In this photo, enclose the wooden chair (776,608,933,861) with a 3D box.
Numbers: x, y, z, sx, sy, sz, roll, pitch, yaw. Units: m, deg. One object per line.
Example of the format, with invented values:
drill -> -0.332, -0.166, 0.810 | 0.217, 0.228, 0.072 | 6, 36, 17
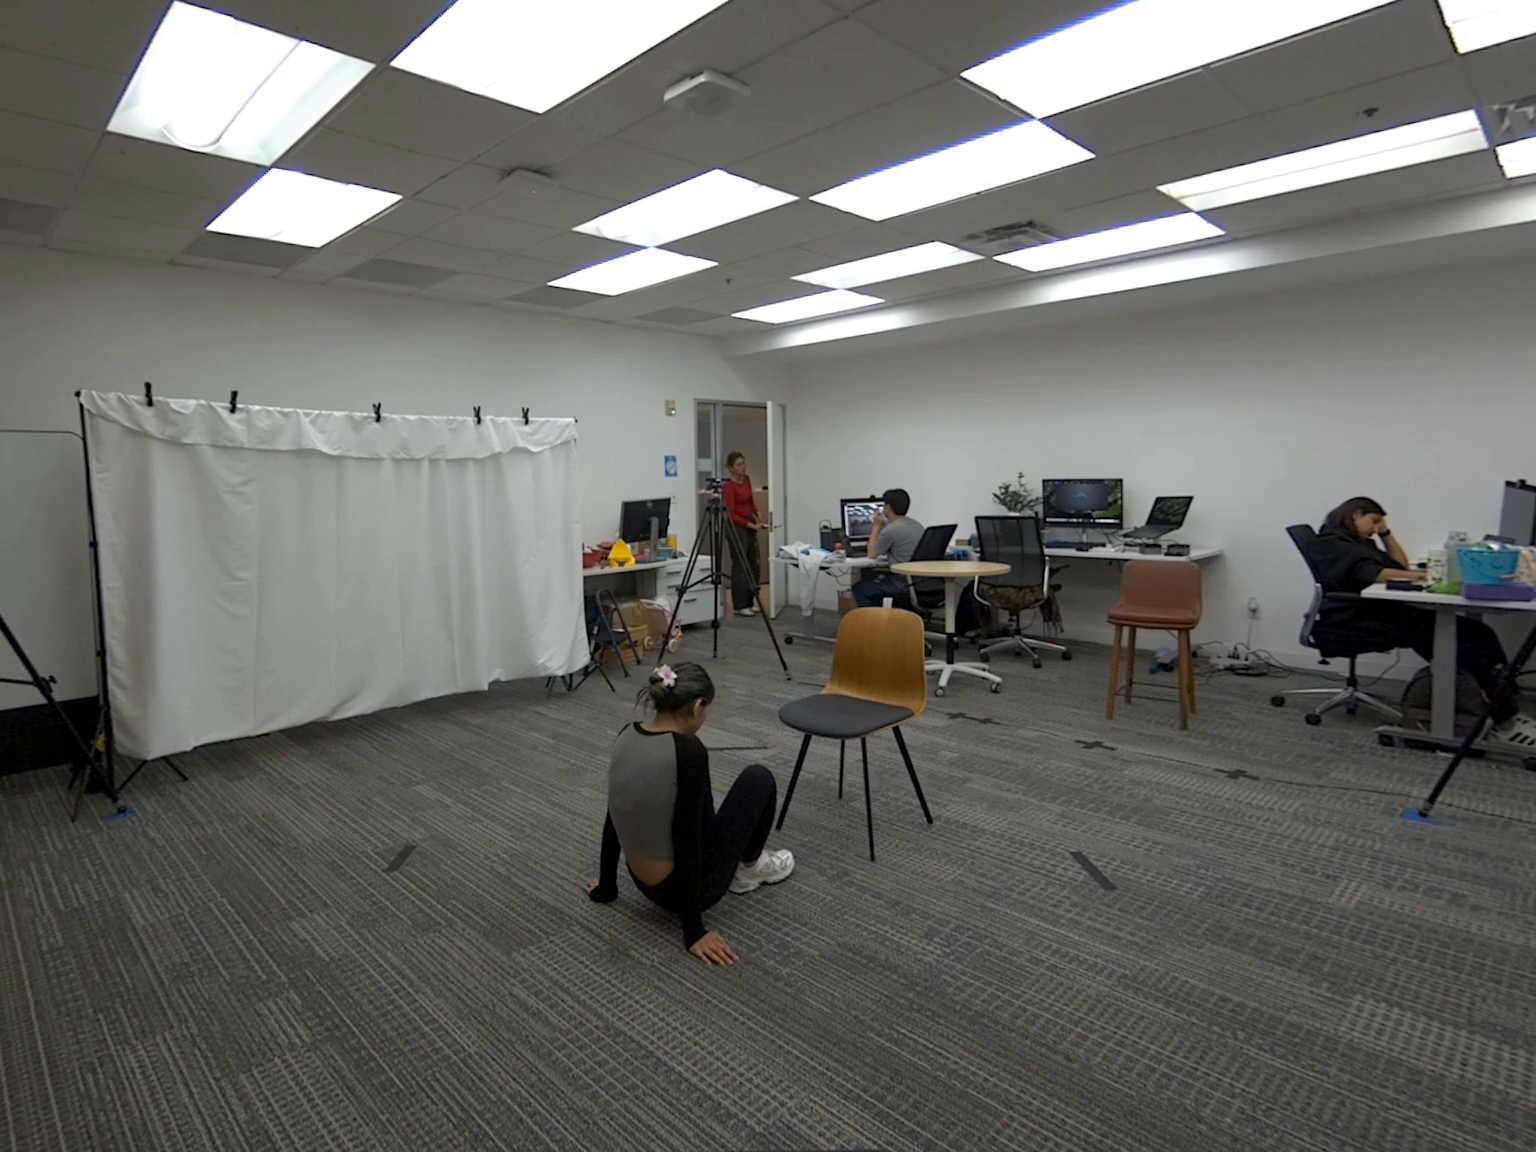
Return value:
wooden chair -> 0.336, 0.576, 3.376 | 0.492, 0.877, 0.508 | 3, 1, 40
